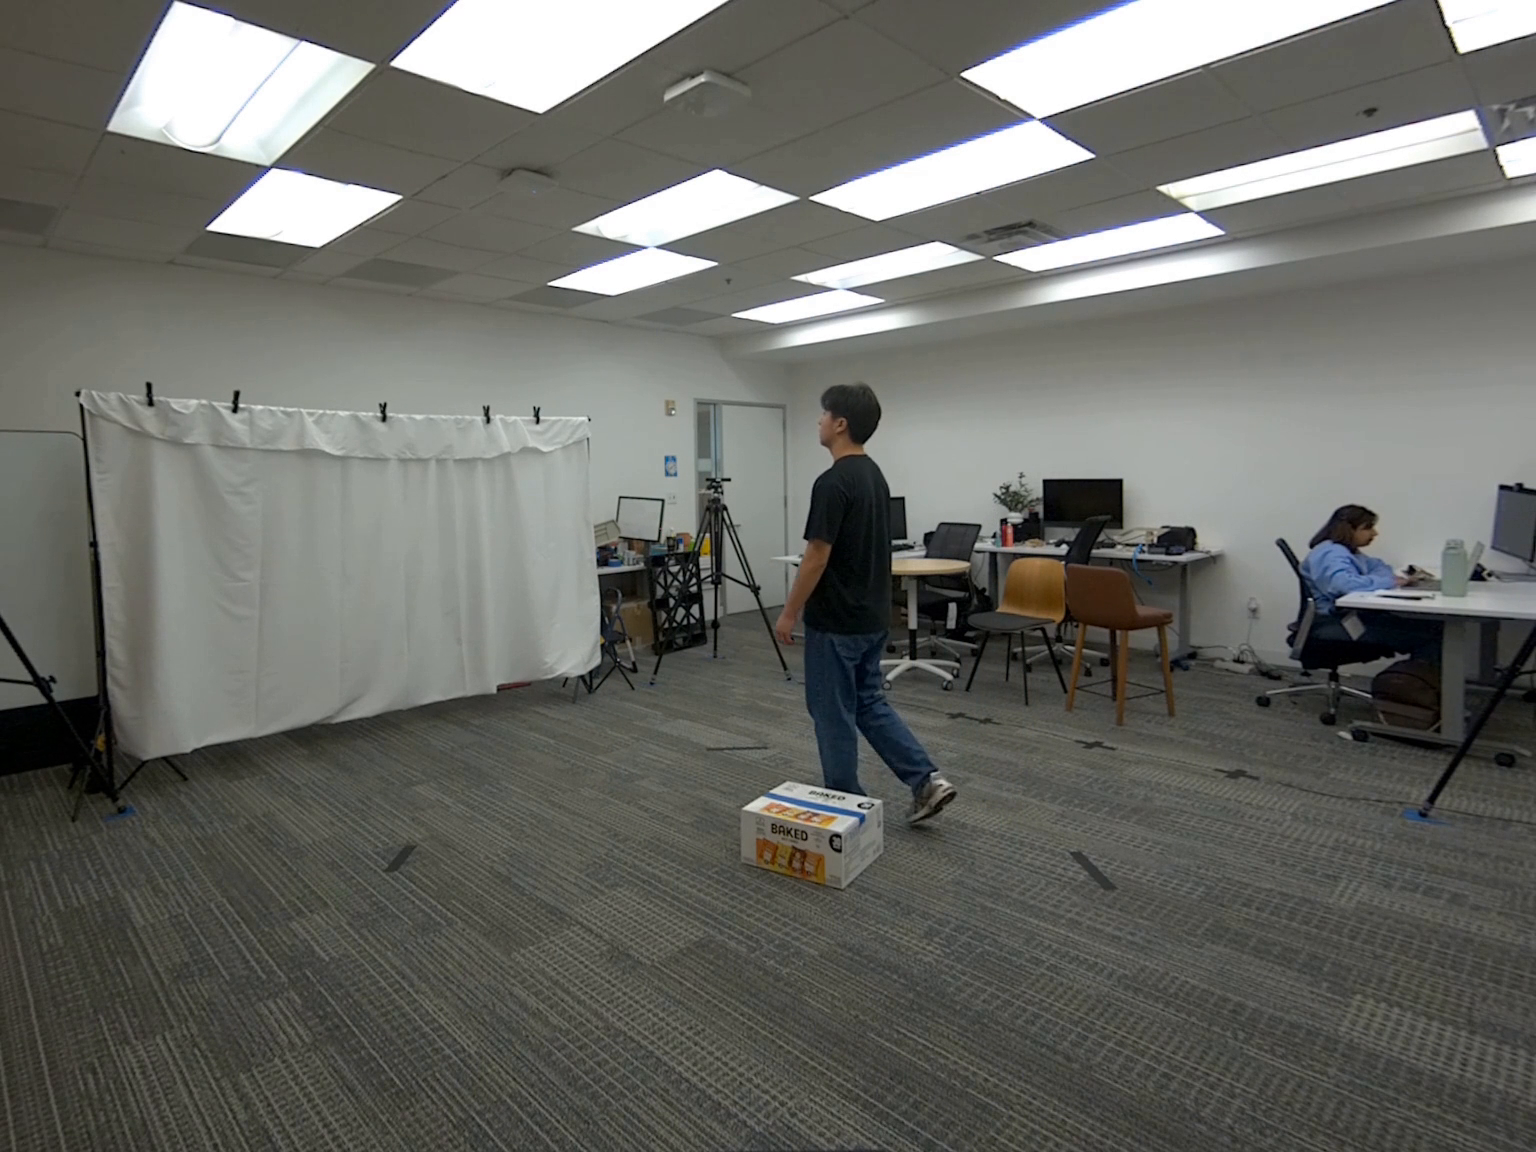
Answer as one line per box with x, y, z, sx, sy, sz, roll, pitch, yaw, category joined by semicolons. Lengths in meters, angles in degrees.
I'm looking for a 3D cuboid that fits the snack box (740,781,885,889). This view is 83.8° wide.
0.168;0.935;3.122;0.416;0.205;0.332;2;7;32;snack box
